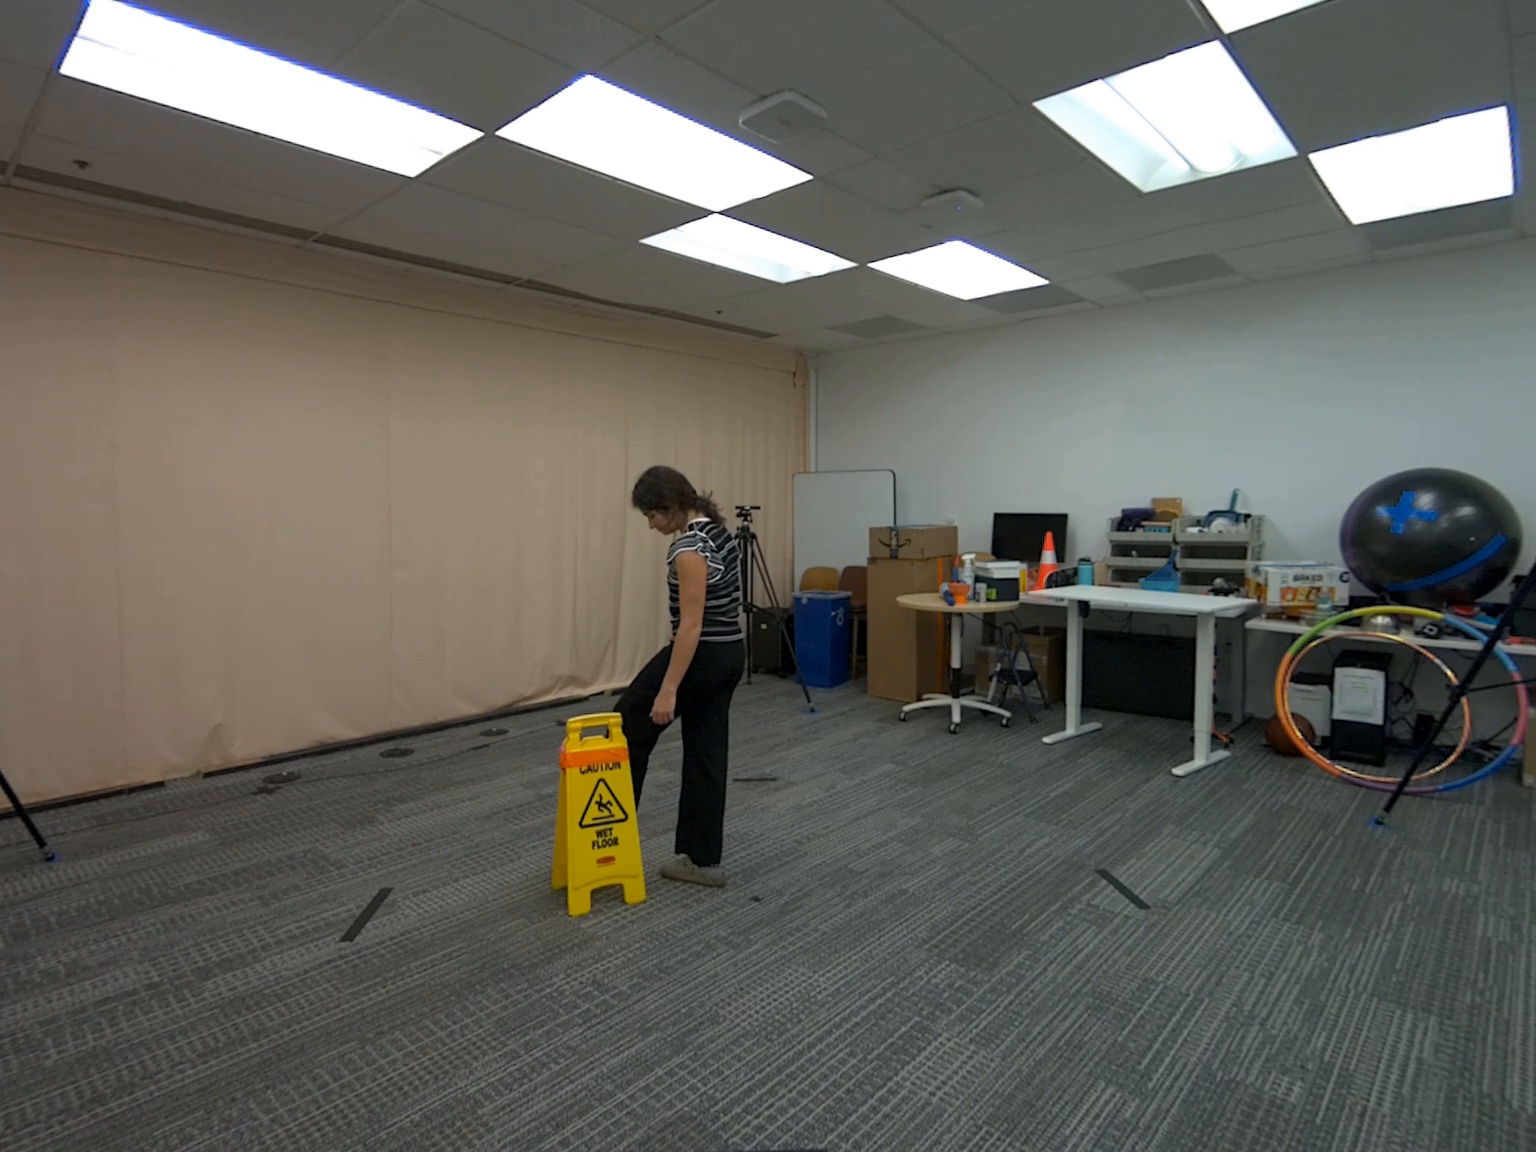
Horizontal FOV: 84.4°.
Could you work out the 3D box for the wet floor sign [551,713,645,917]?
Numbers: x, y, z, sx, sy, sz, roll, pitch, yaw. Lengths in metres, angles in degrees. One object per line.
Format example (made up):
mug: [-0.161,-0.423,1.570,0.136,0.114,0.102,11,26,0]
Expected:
wet floor sign: [-0.619,0.820,3.012,0.276,0.644,0.297,-2,4,-25]
